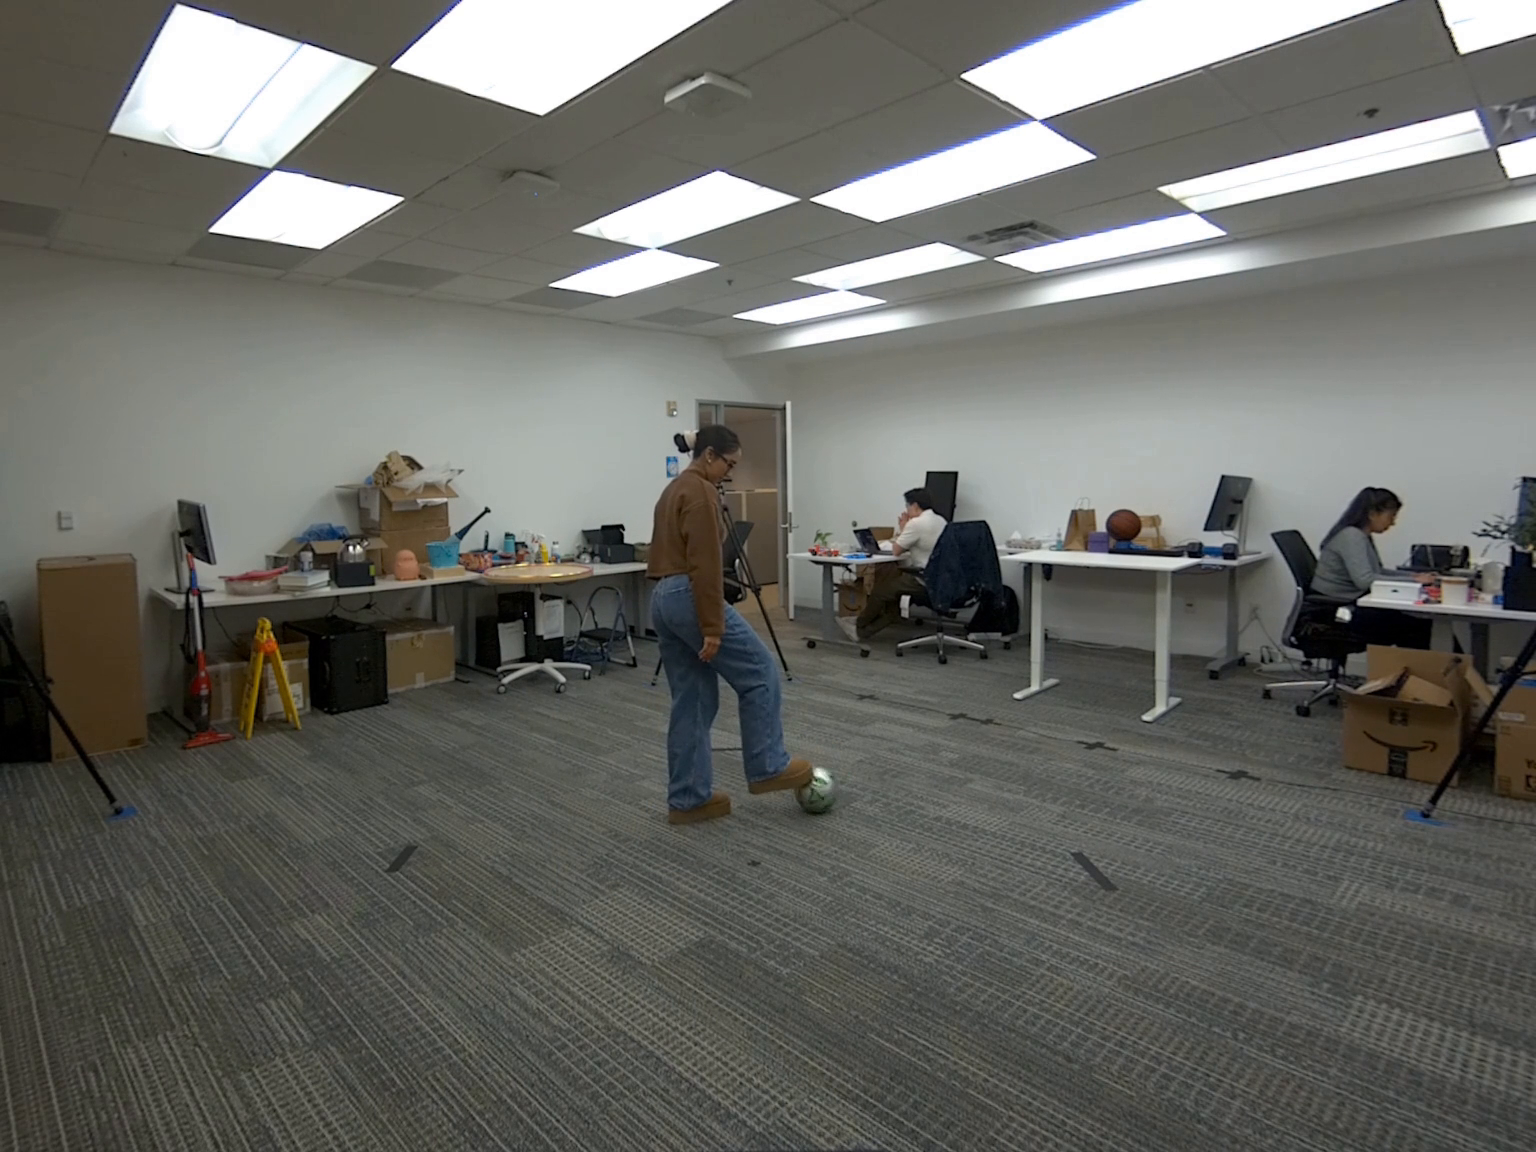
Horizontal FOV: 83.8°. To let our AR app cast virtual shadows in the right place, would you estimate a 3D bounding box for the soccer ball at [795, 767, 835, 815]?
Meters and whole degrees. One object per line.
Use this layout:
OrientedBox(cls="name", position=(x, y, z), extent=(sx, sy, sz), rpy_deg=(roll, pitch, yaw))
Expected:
OrientedBox(cls="soccer ball", position=(0.195, 0.890, 3.574), extent=(0.187, 0.187, 0.188), rpy_deg=(-1, 5, -2))
